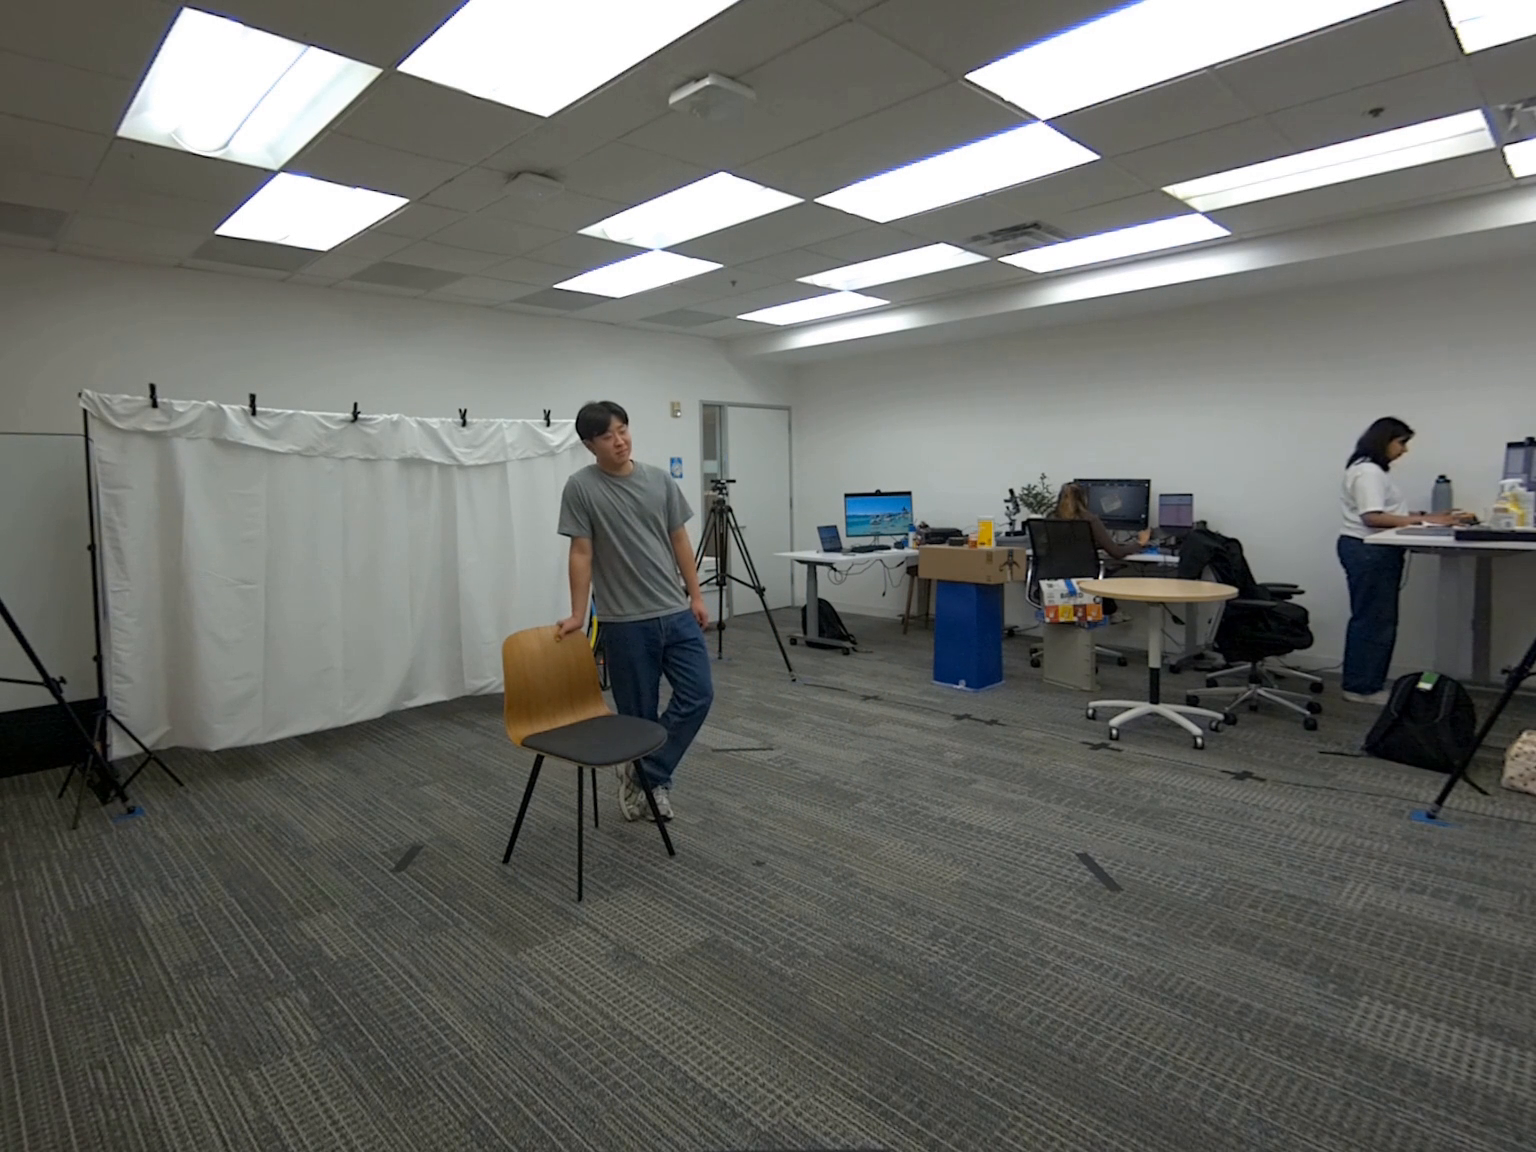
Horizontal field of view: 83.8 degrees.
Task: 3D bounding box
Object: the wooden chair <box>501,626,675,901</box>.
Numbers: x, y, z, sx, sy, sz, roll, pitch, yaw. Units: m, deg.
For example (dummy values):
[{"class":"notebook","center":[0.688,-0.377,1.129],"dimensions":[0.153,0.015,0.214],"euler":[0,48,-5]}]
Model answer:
[{"class":"wooden chair","center":[-0.667,0.631,3.129],"dimensions":[0.537,0.877,0.466],"euler":[-4,1,41]}]
